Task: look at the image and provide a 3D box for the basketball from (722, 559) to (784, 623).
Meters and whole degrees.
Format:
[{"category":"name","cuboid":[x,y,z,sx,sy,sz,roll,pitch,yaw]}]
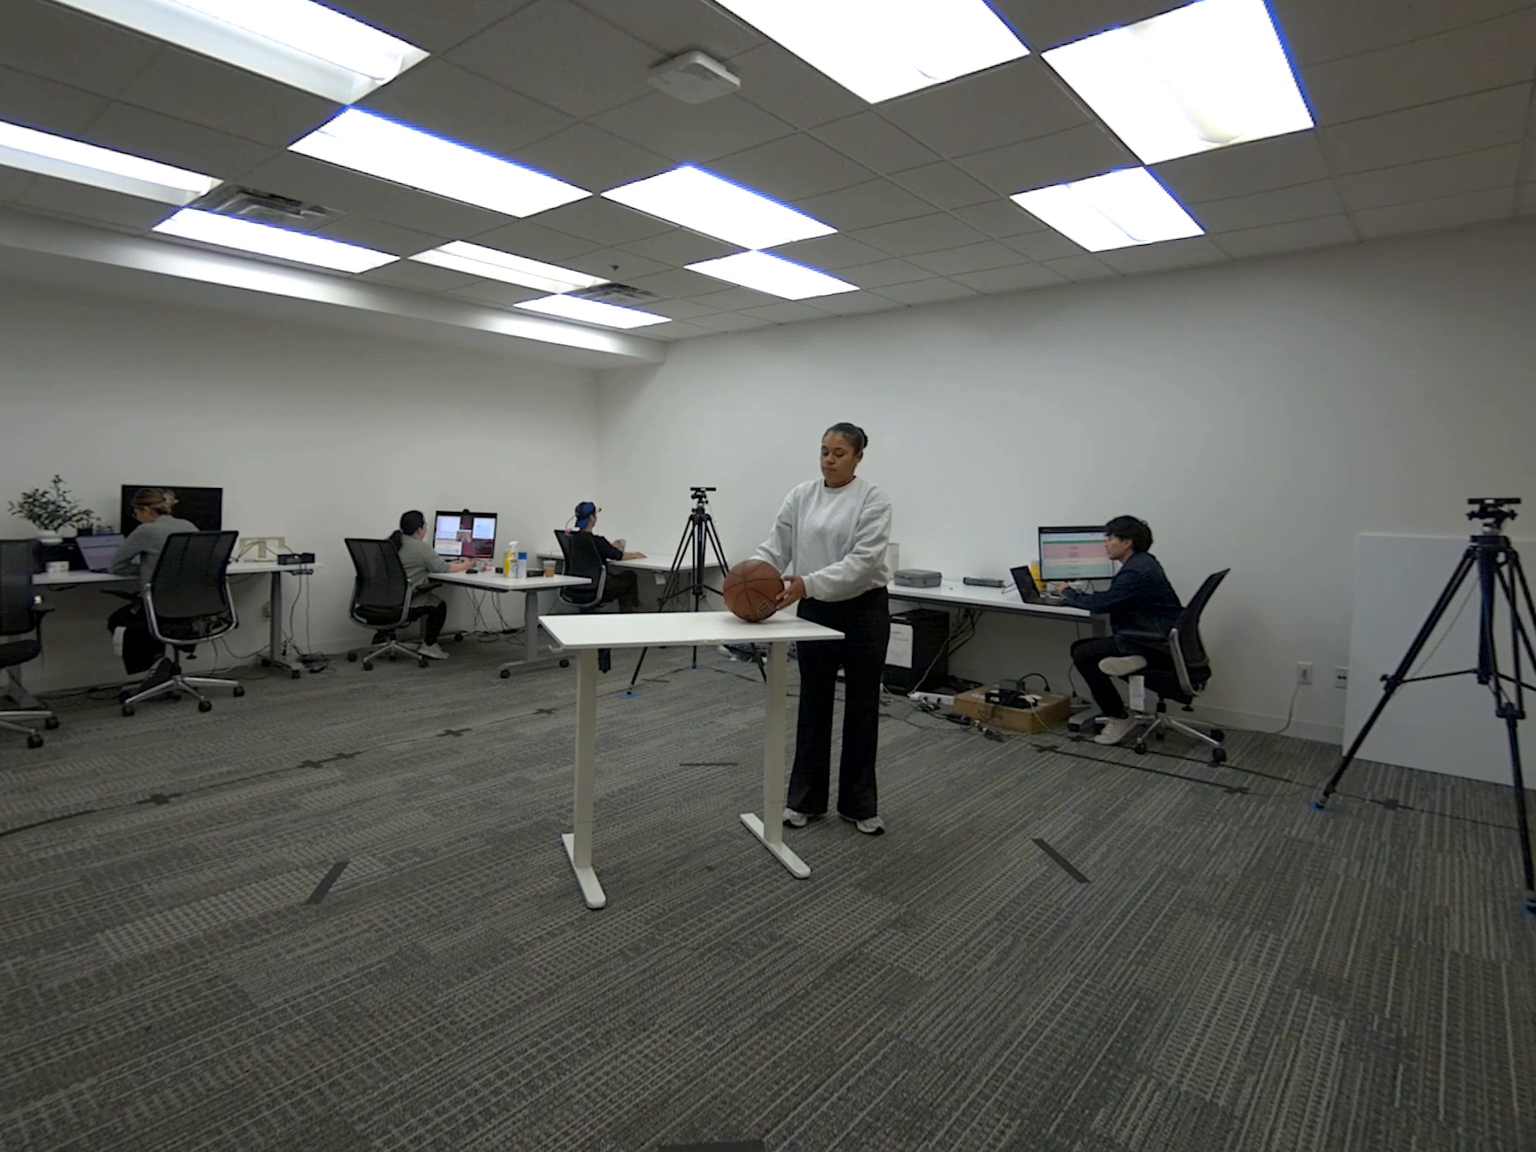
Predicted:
[{"category":"basketball","cuboid":[-0.062,0.048,3.272,0.235,0.235,0.237,1,4,-2]}]
